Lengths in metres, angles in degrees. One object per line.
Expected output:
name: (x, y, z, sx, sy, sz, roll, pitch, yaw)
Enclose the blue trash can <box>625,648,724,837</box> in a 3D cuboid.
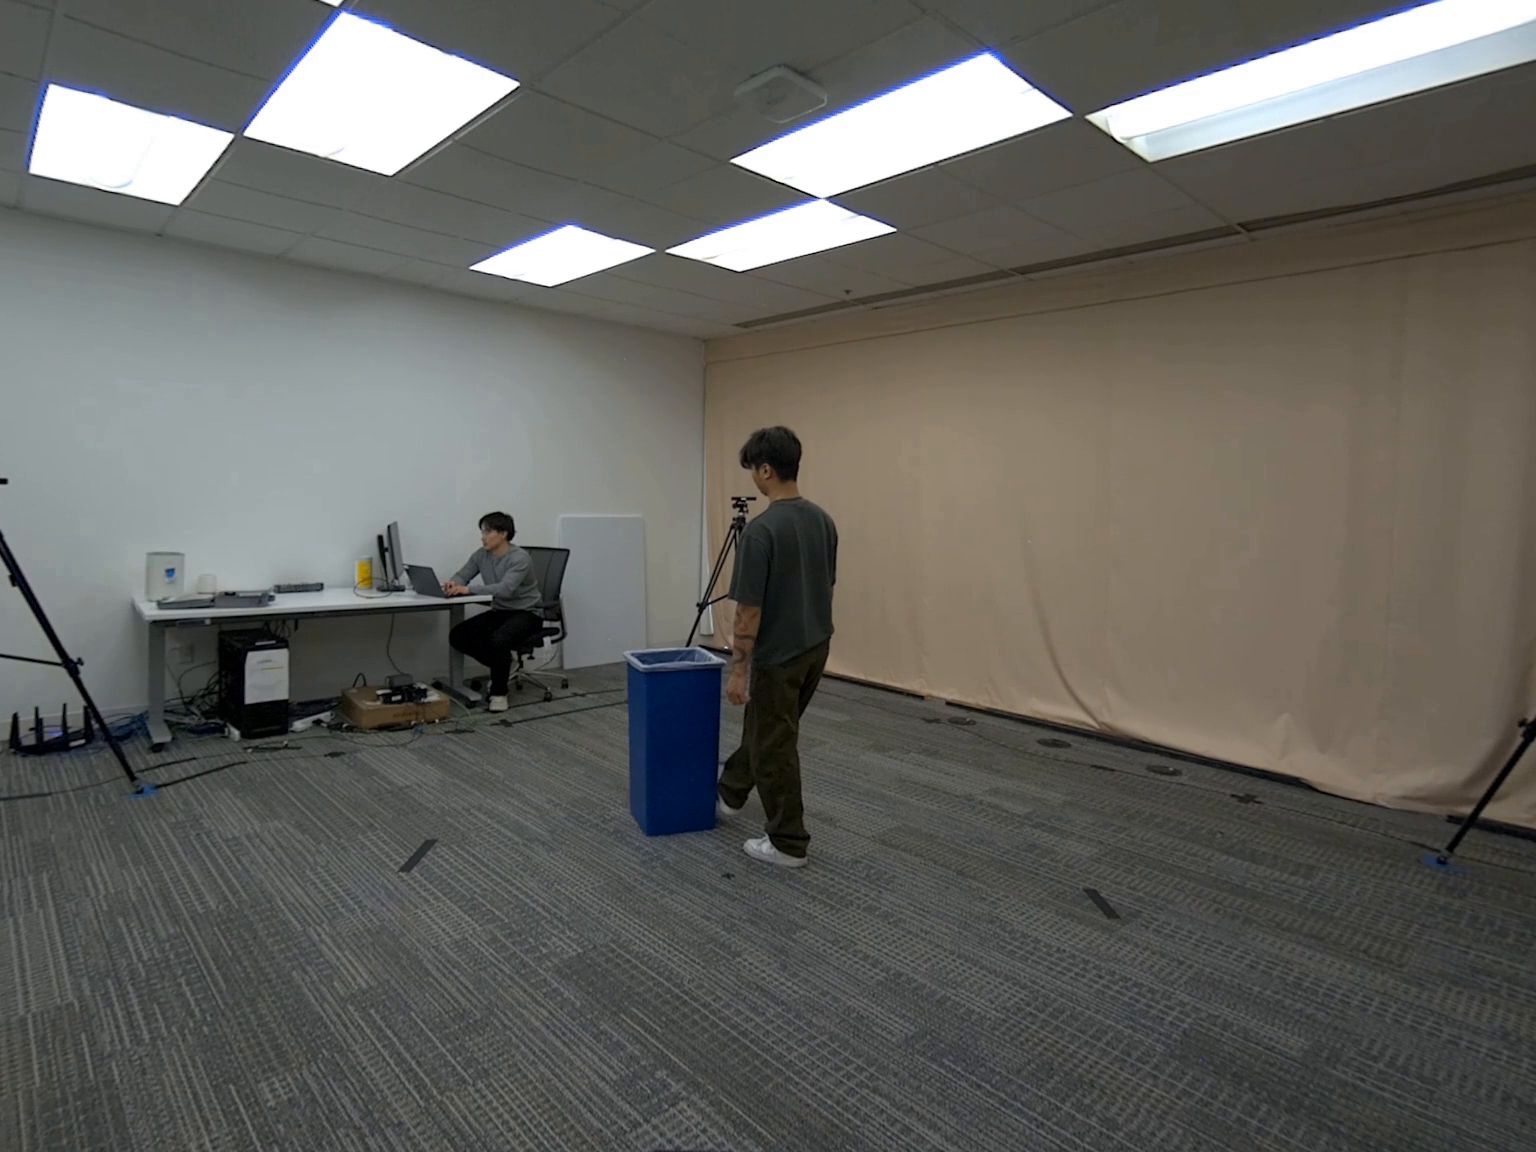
blue trash can: (-0.418, 0.701, 3.622, 0.372, 0.712, 0.381, -2, 2, -24)
